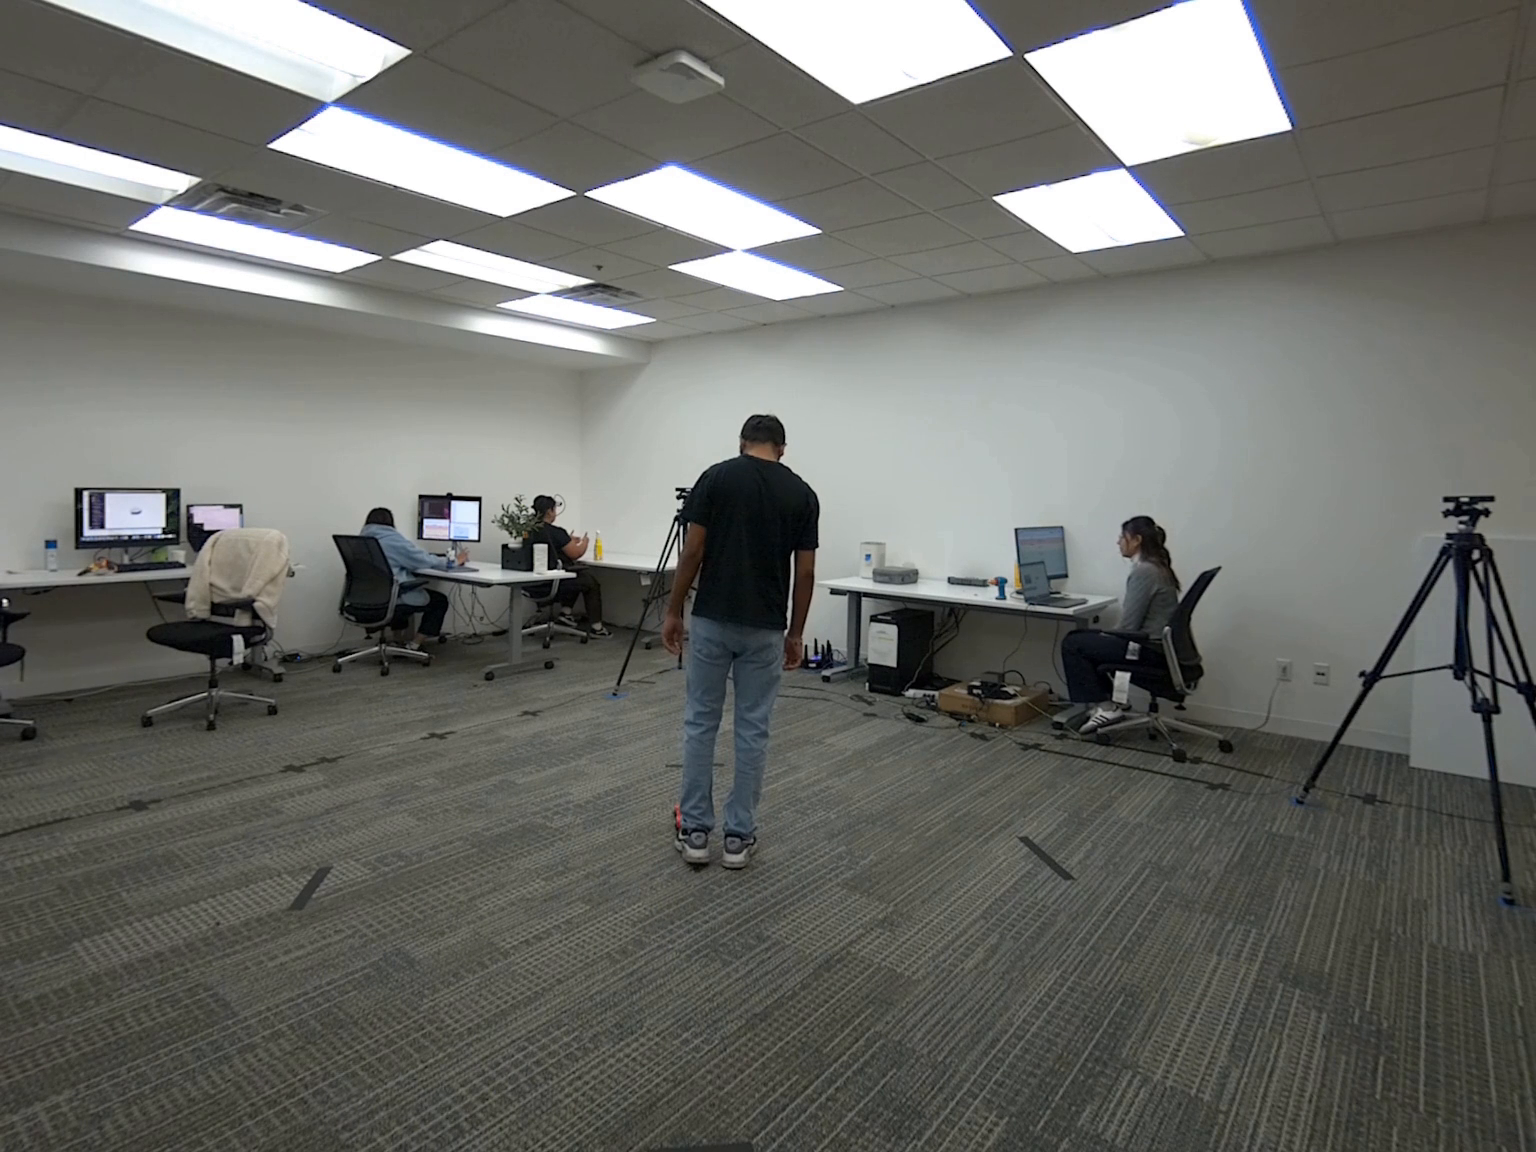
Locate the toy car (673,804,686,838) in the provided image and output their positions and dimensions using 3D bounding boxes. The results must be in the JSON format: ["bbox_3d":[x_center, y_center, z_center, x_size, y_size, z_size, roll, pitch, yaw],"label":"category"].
[{"bbox_3d":[-0.334,0.989,3.511,0.129,0.084,0.254,0,-6,-7],"label":"toy car"}]
